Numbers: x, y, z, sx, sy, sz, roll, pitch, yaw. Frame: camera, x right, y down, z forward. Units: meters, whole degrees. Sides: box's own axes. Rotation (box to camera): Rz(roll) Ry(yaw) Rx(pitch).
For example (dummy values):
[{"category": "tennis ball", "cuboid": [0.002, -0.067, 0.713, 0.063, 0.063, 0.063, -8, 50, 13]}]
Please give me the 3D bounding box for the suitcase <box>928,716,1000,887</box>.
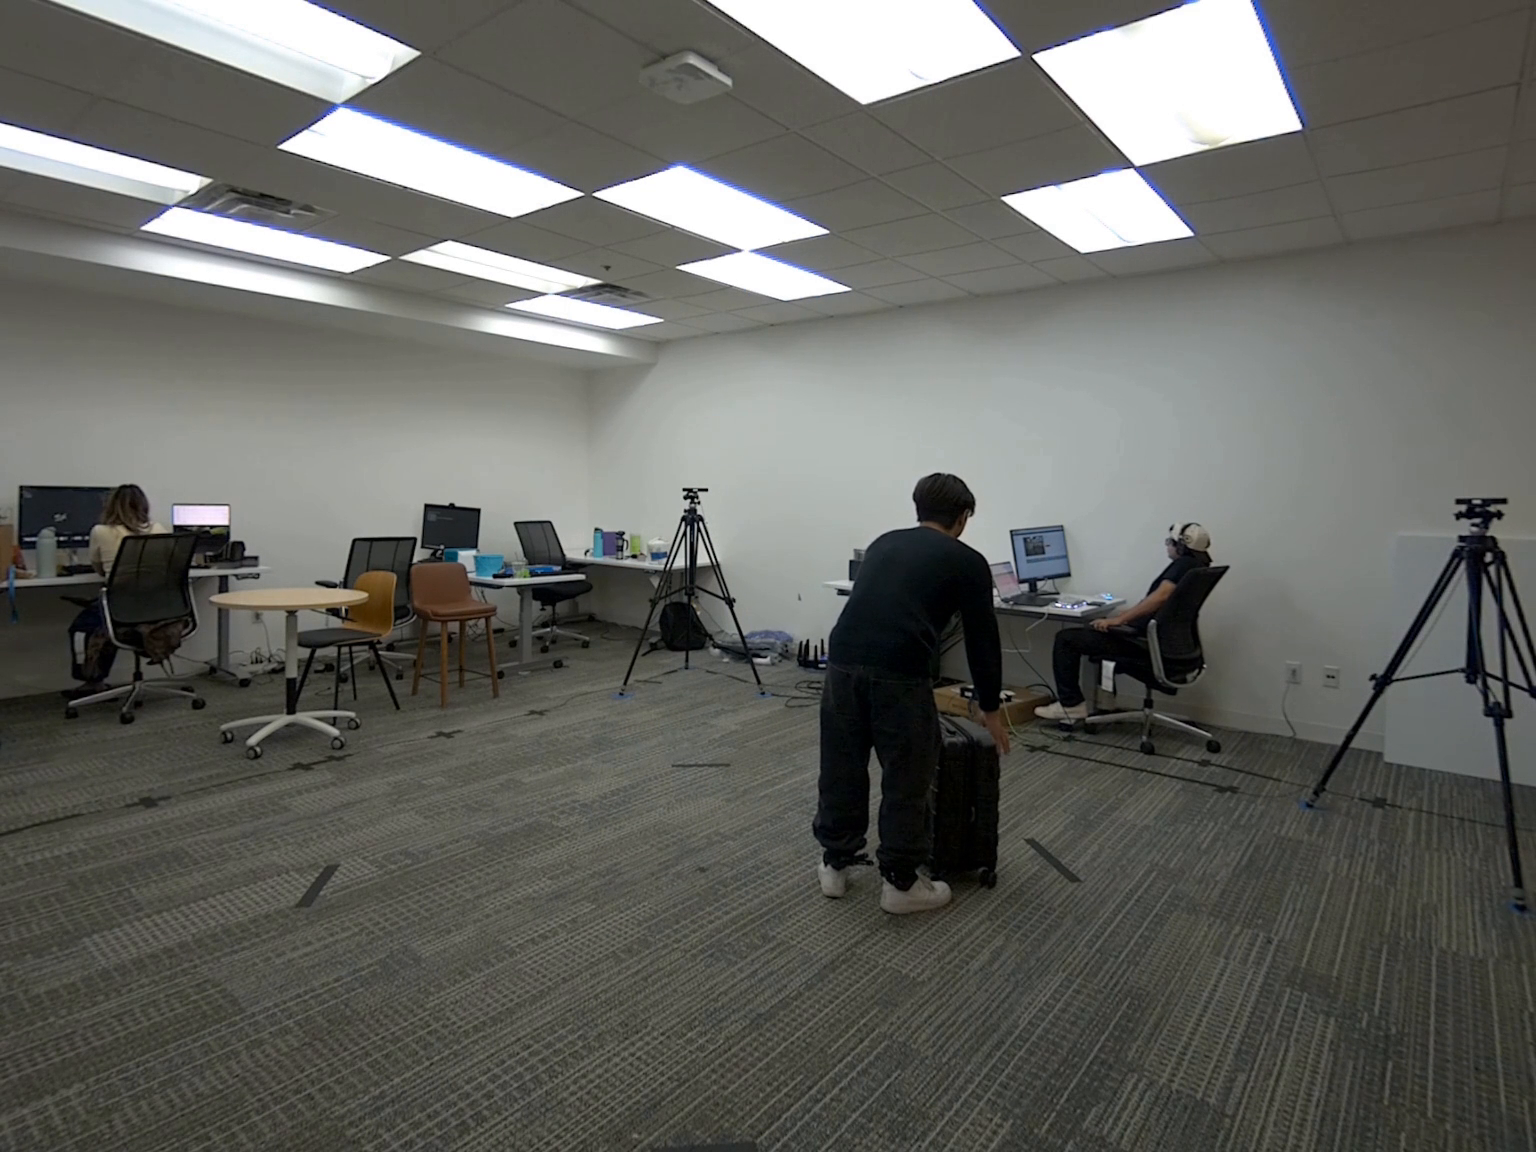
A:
[{"category": "suitcase", "cuboid": [0.675, 0.807, 3.172, 0.246, 0.548, 0.380, 1, 4, -10]}]
